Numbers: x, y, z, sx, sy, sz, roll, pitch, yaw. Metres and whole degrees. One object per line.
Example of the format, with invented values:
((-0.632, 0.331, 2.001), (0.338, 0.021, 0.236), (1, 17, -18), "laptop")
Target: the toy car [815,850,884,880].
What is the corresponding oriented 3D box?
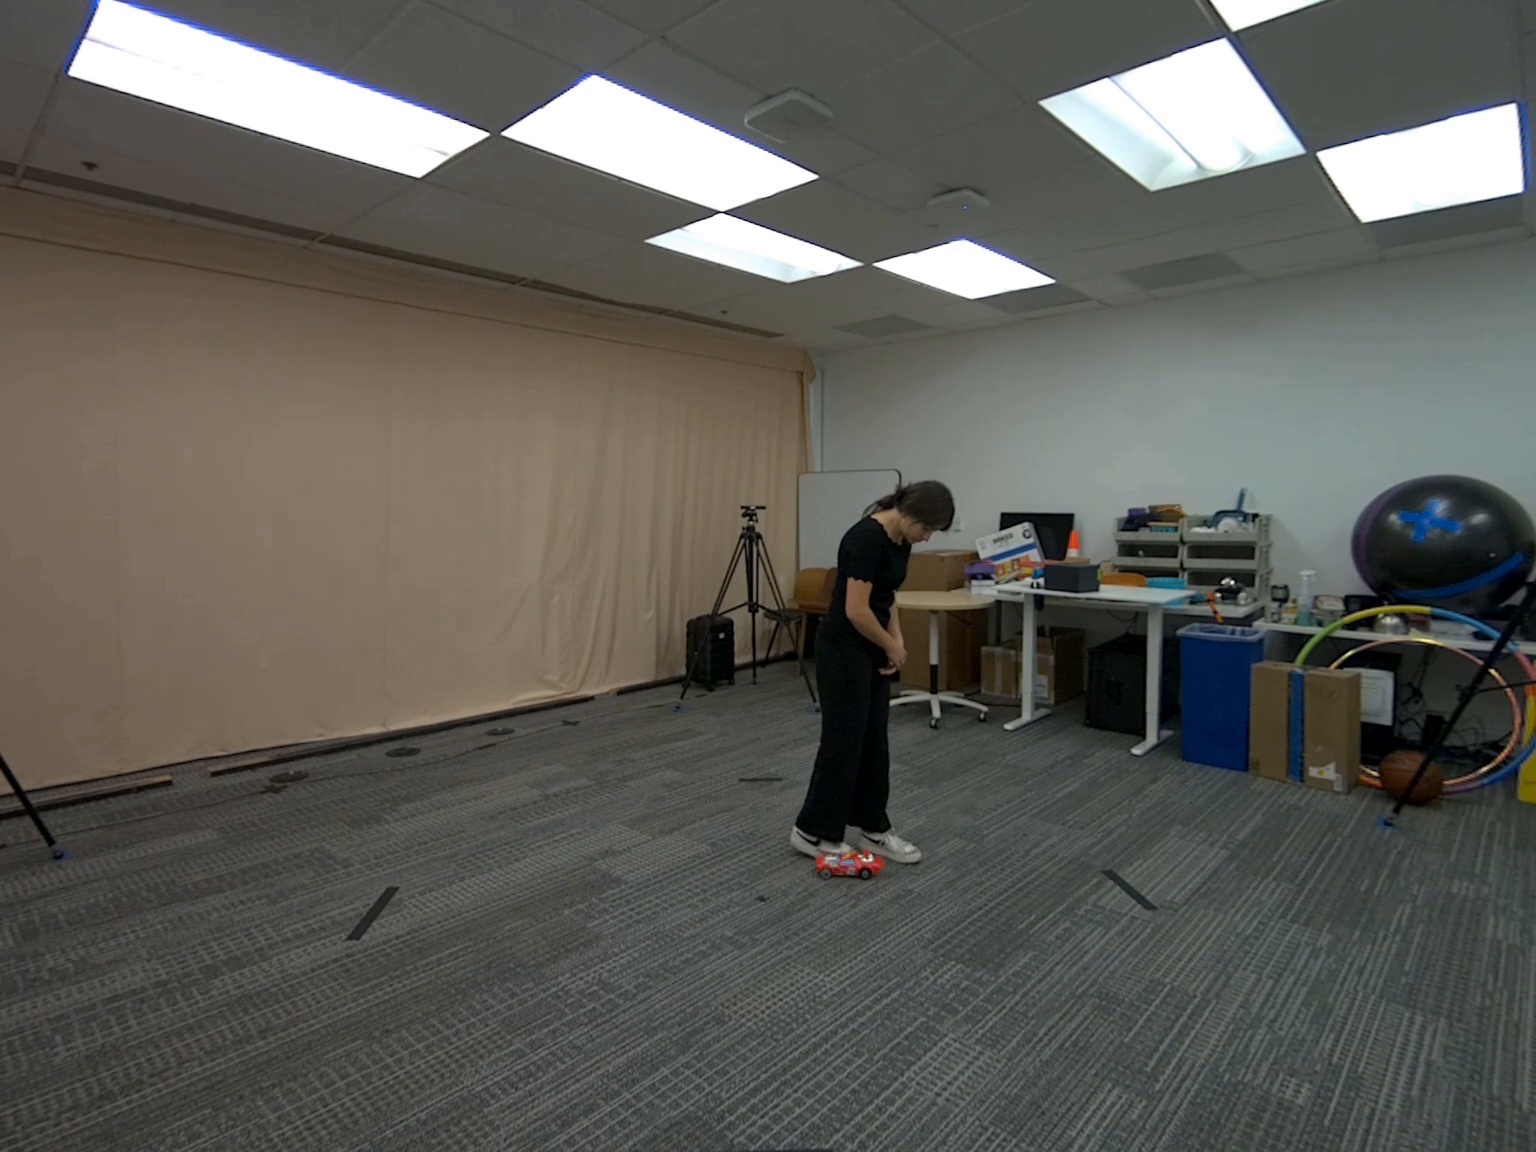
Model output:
((0.310, 1.088, 3.181), (0.256, 0.083, 0.130), (-10, 4, 5), "toy car")
